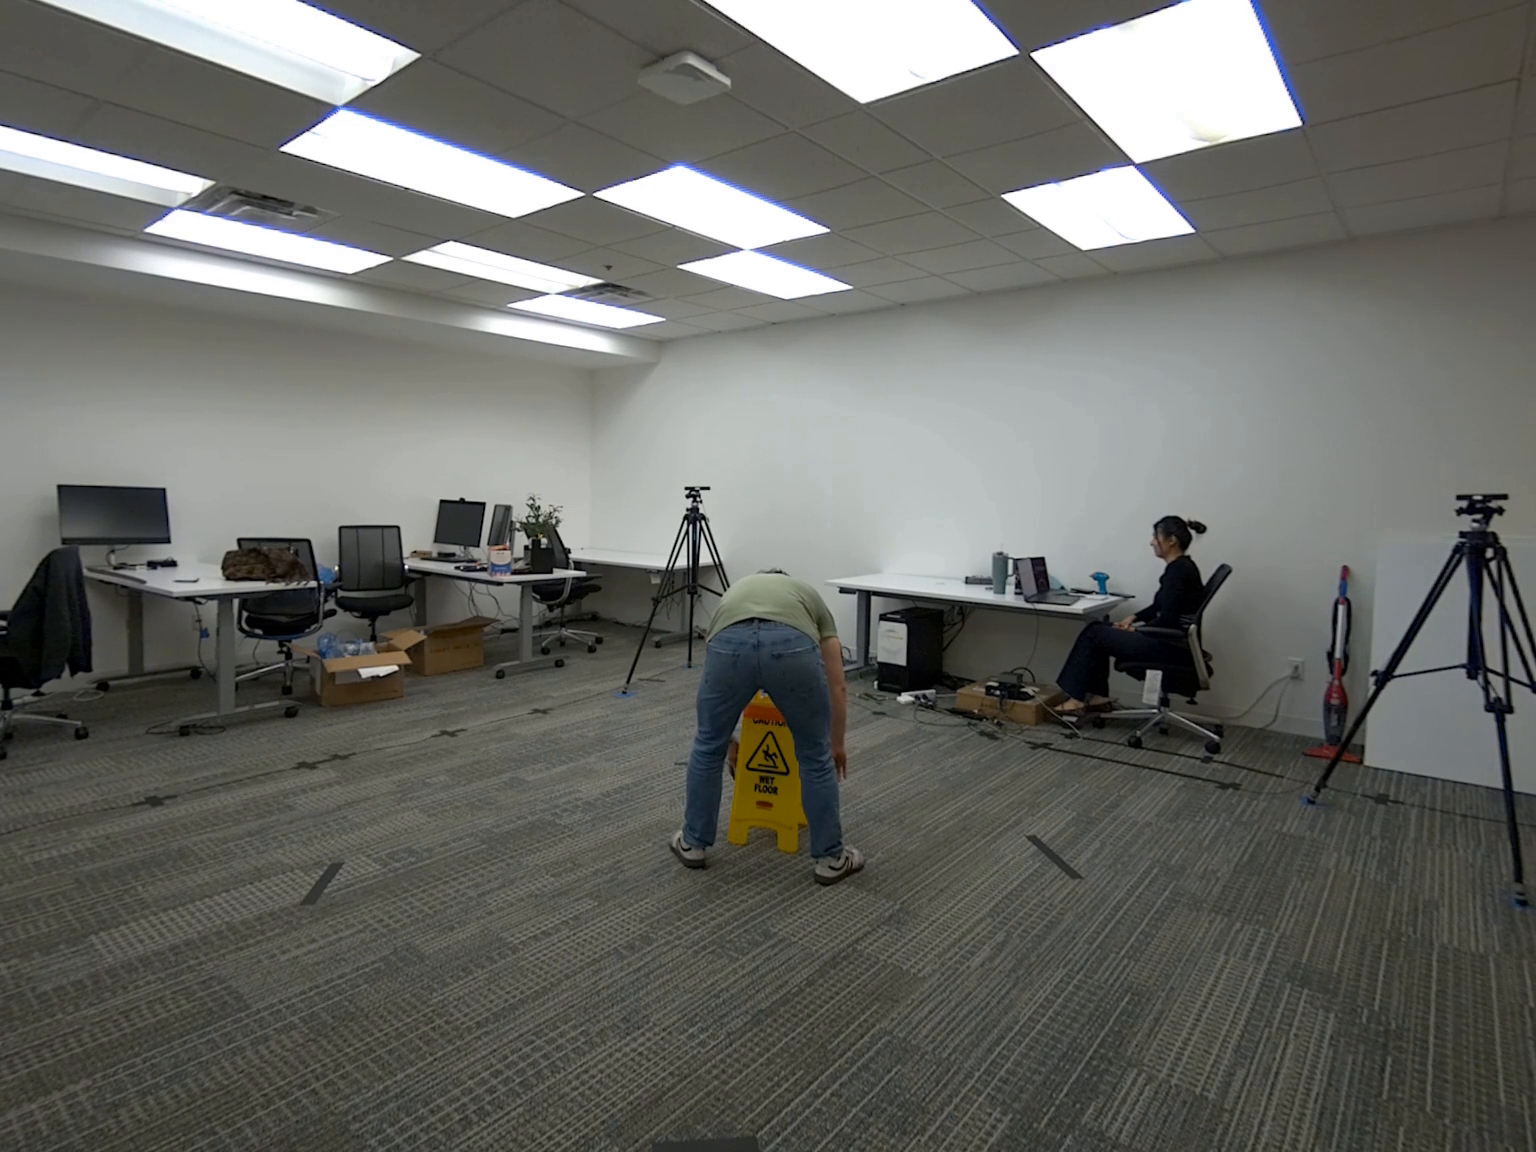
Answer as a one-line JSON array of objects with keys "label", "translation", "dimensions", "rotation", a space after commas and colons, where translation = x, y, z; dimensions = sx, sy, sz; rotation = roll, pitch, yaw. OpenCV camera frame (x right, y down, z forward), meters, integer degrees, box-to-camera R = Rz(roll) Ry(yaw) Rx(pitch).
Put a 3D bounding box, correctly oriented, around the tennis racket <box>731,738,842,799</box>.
[{"label": "tennis racket", "translation": [0.069, 0.773, 3.395], "dimensions": [0.442, 0.211, 0.031], "rotation": [-1, 12, 21]}]
